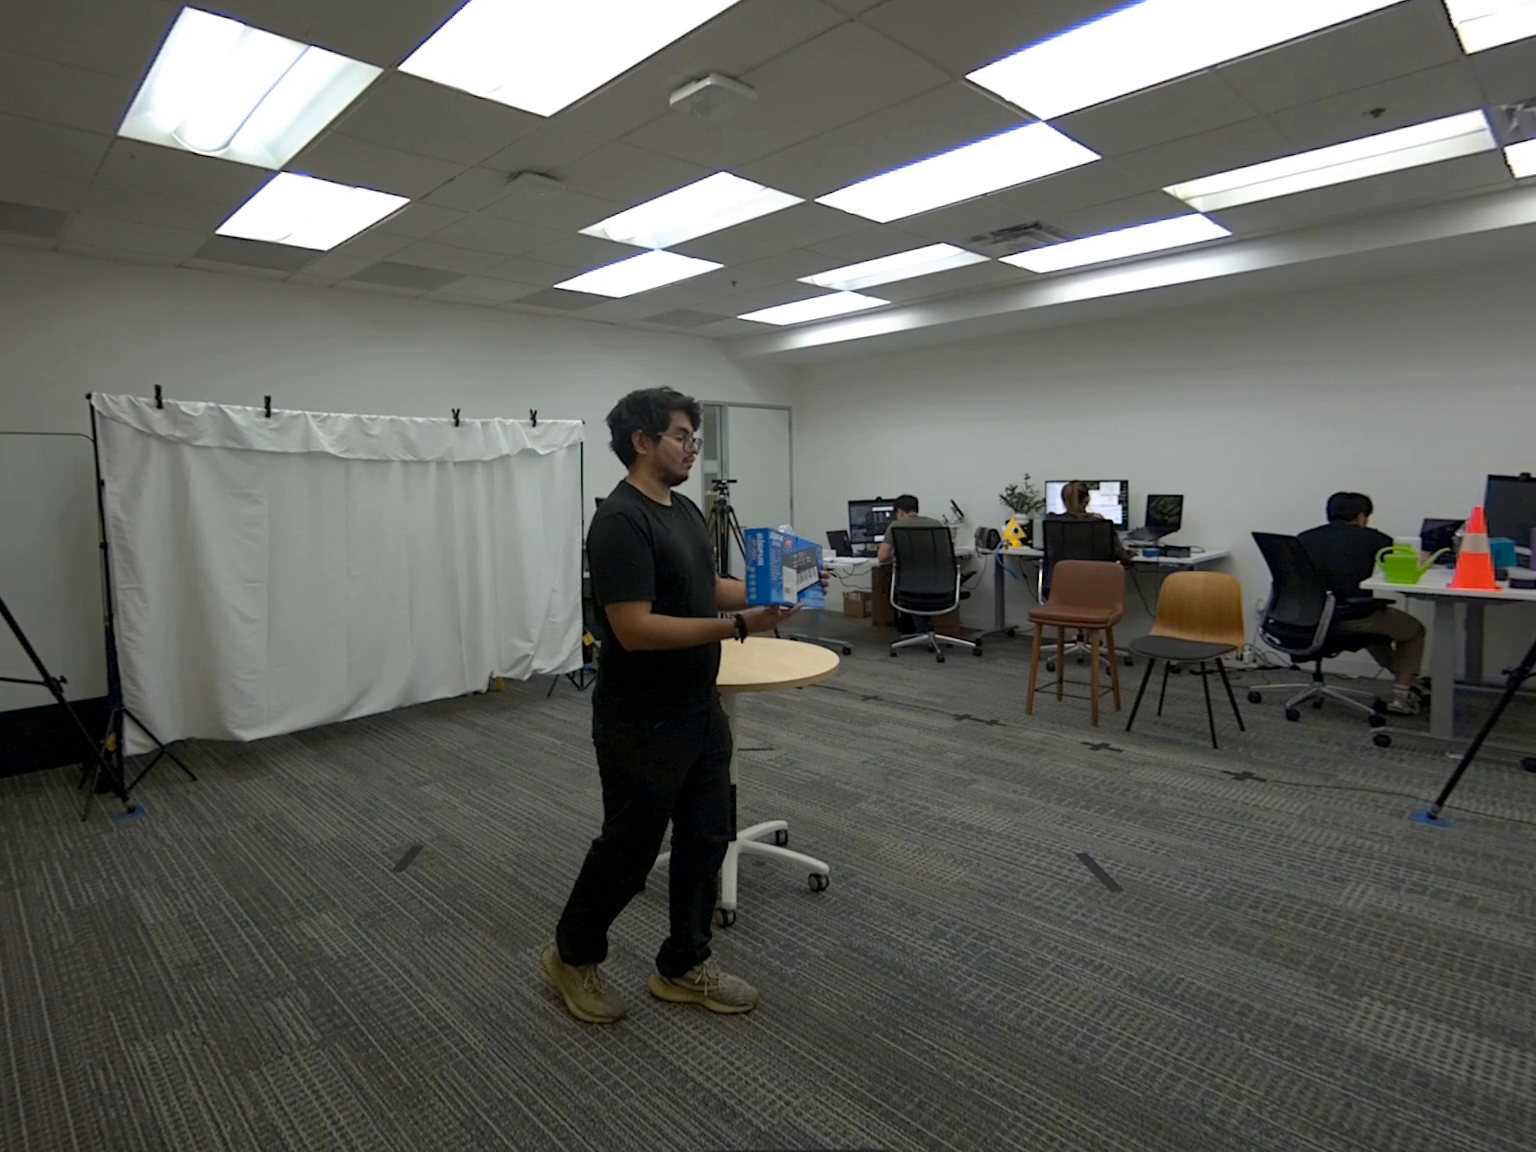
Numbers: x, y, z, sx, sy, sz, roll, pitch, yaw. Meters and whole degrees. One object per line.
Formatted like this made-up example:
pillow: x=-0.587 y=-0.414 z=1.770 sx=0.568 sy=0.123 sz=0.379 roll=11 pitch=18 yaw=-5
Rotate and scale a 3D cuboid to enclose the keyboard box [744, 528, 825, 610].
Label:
keyboard box: x=0.046 y=-0.007 z=2.095 sx=0.060 sy=0.177 sz=0.426 roll=-3 pitch=-5 yaw=20
